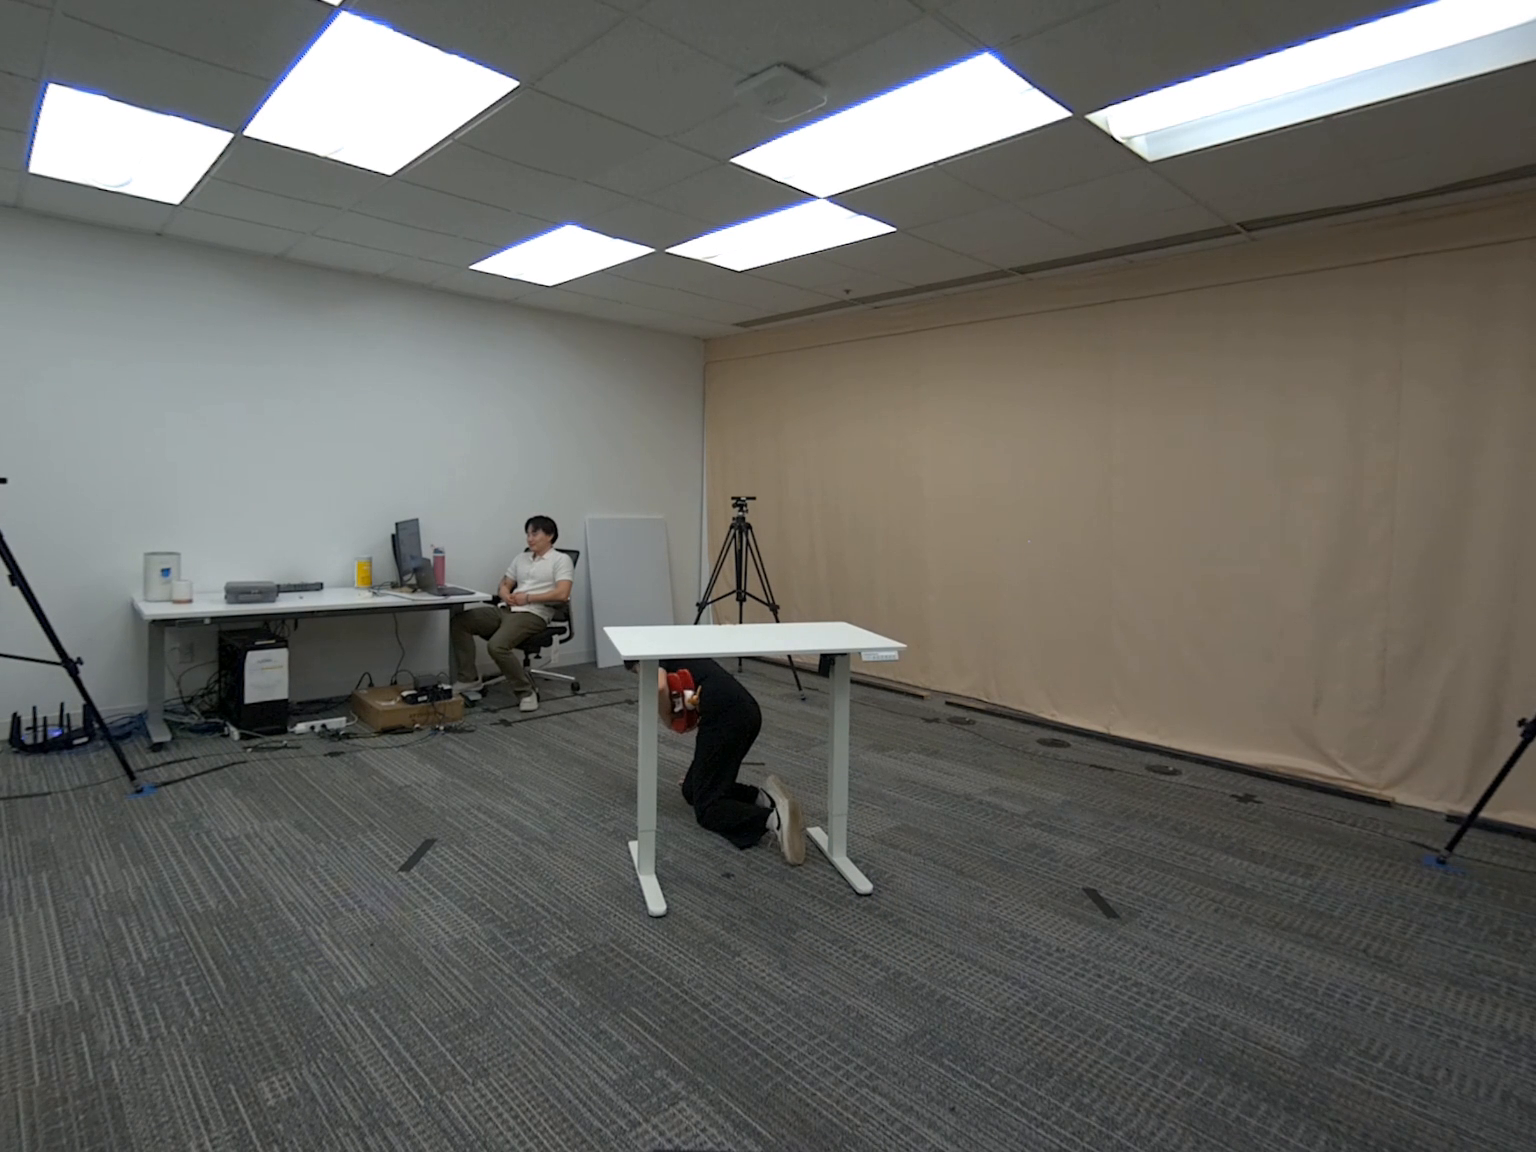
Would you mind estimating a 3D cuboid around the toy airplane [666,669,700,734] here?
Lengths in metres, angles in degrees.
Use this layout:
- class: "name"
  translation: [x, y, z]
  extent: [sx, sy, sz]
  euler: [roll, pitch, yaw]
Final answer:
- class: "toy airplane"
  translation: [-0.434, 0.526, 3.721]
  extent: [0.153, 0.248, 0.267]
  euler: [-7, 30, -46]
